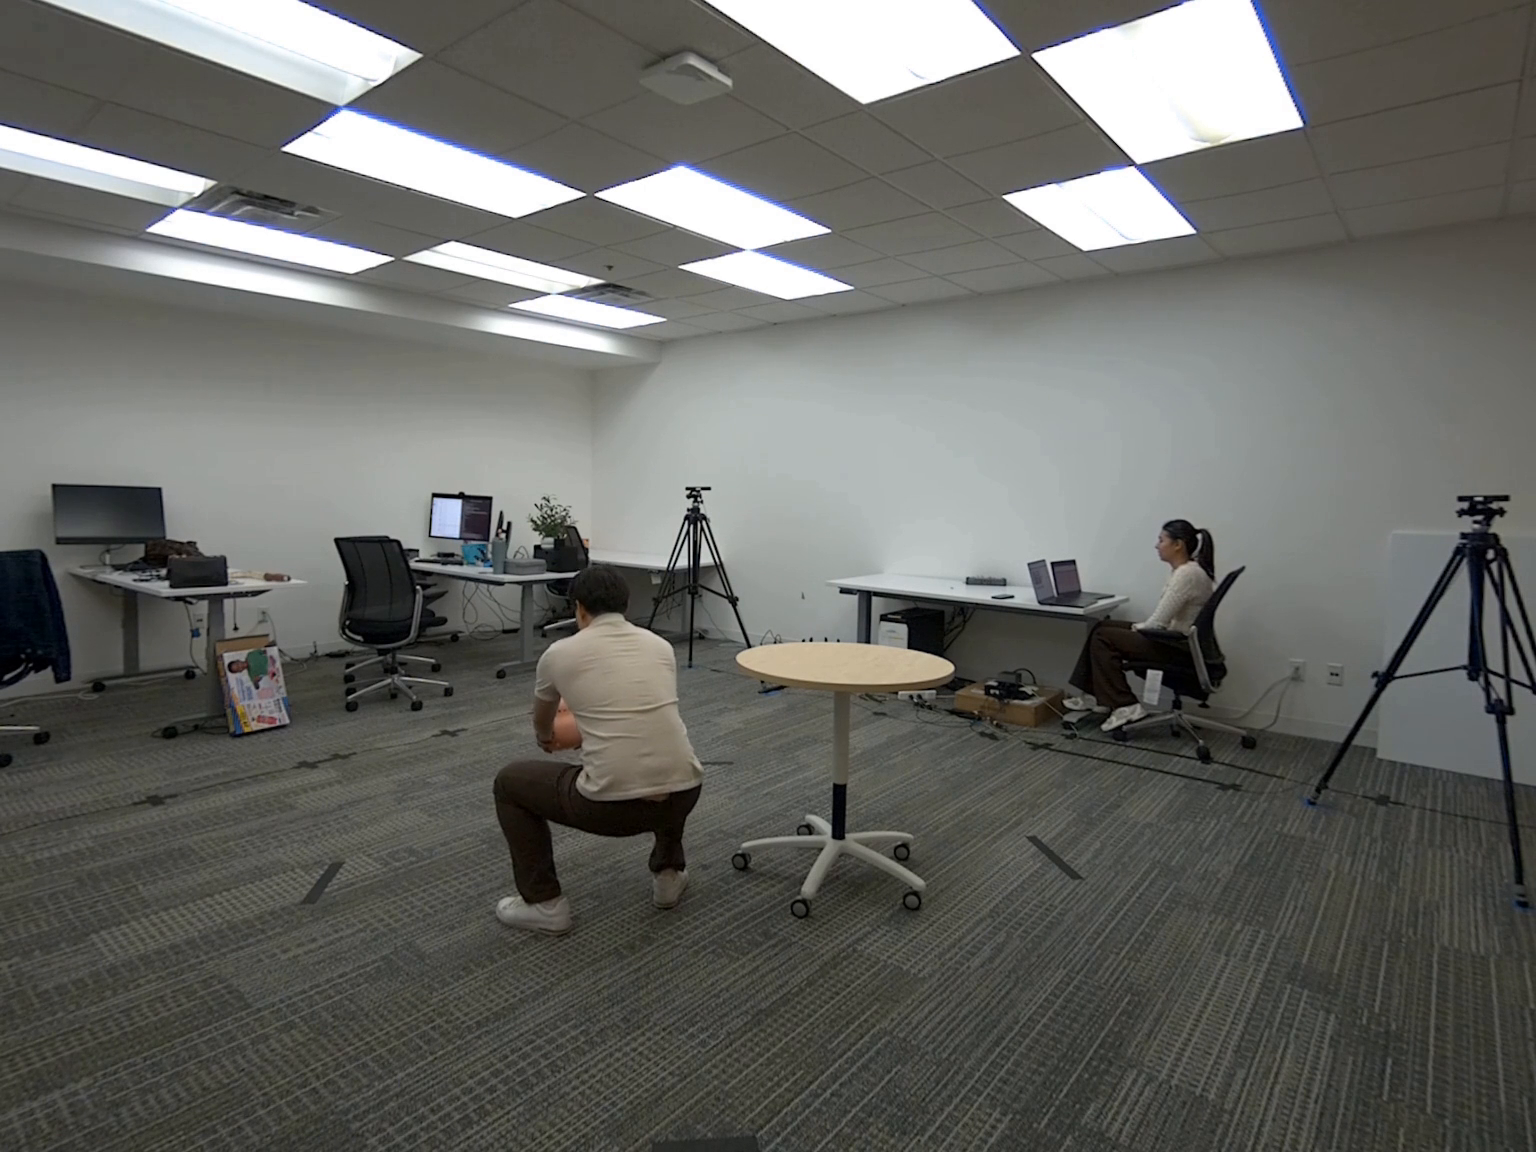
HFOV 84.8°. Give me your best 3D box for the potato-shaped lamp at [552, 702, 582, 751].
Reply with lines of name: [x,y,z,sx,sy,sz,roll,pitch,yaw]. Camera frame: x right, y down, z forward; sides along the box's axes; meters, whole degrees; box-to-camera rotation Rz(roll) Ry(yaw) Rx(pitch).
potato-shaped lamp: [-0.800,0.561,3.250,0.161,0.201,0.172,-1,-17,-22]
